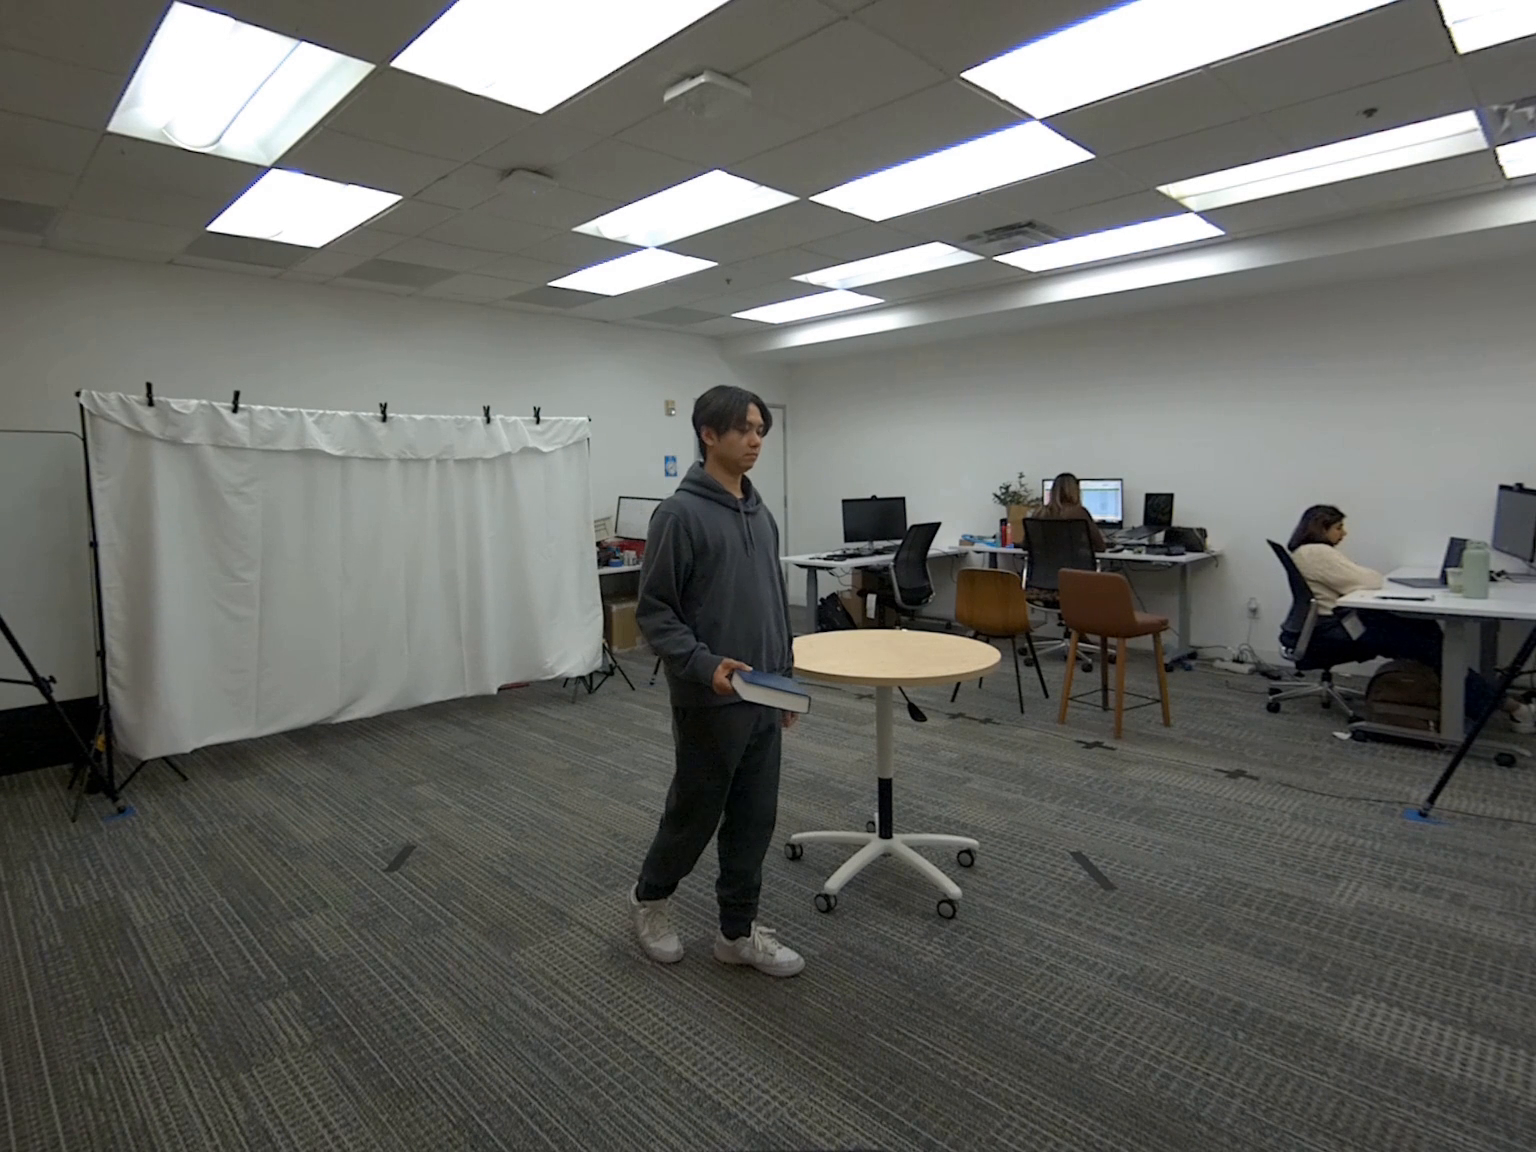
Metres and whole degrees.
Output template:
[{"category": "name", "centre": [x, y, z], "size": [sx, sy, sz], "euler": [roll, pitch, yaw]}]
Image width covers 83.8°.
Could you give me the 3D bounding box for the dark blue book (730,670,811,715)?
[{"category": "dark blue book", "centre": [-0.005, 0.273, 2.080], "size": [0.162, 0.045, 0.246], "euler": [11, 1, -6]}]
